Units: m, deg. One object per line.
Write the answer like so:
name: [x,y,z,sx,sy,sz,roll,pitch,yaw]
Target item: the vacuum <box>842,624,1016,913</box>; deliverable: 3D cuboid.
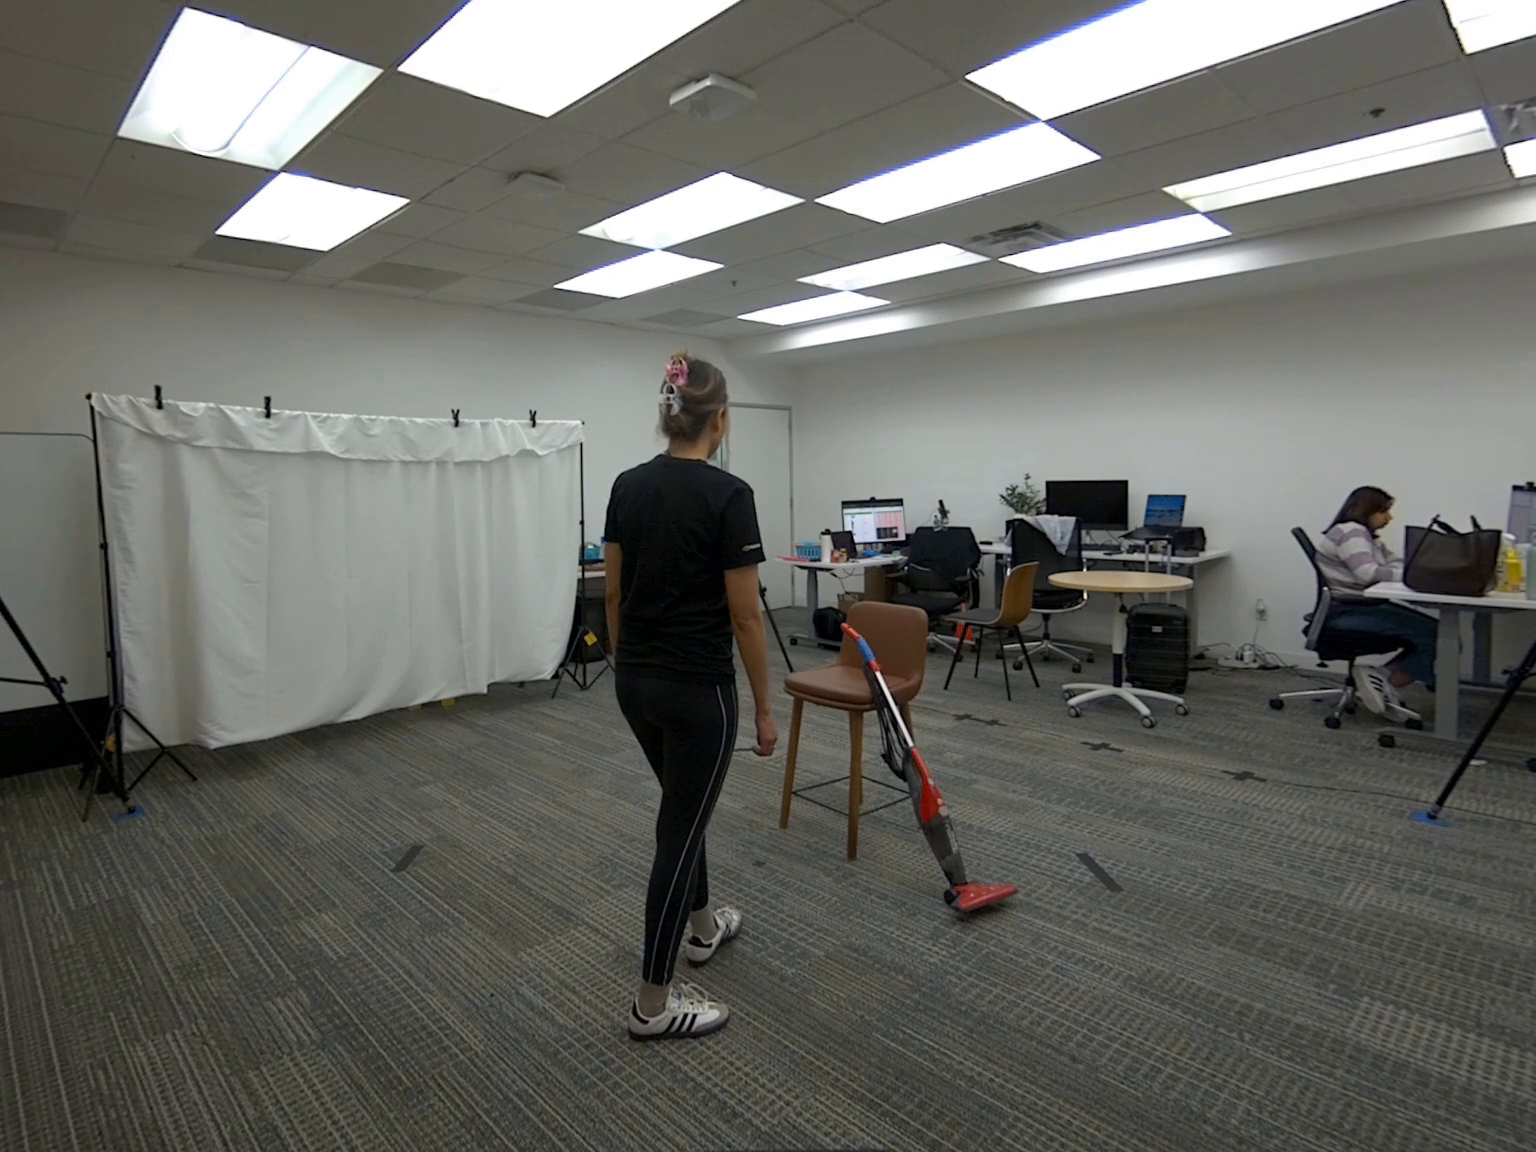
vacuum: [0.498,0.630,3.016,0.246,1.083,0.143,-1,-37,-35]
